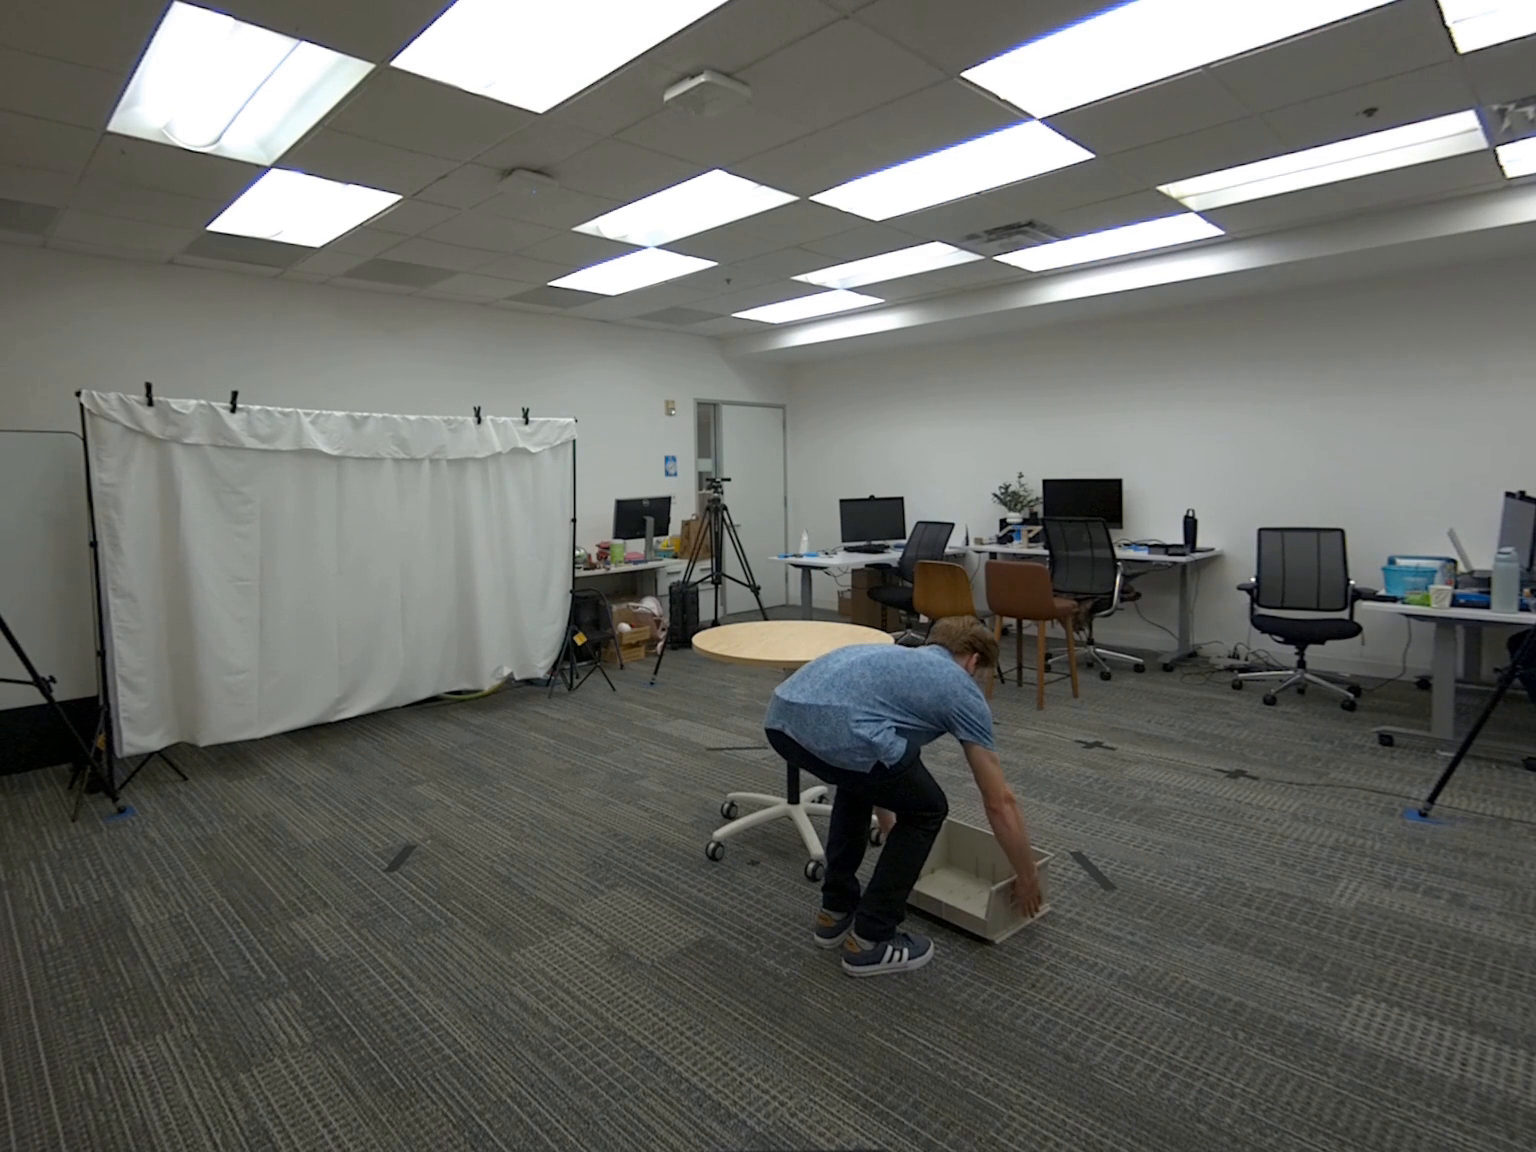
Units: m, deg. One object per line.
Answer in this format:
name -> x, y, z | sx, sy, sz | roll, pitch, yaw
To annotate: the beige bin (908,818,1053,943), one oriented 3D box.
beige bin -> 0.641, 0.981, 2.777 | 0.367, 0.188, 0.435 | -5, 7, -42
